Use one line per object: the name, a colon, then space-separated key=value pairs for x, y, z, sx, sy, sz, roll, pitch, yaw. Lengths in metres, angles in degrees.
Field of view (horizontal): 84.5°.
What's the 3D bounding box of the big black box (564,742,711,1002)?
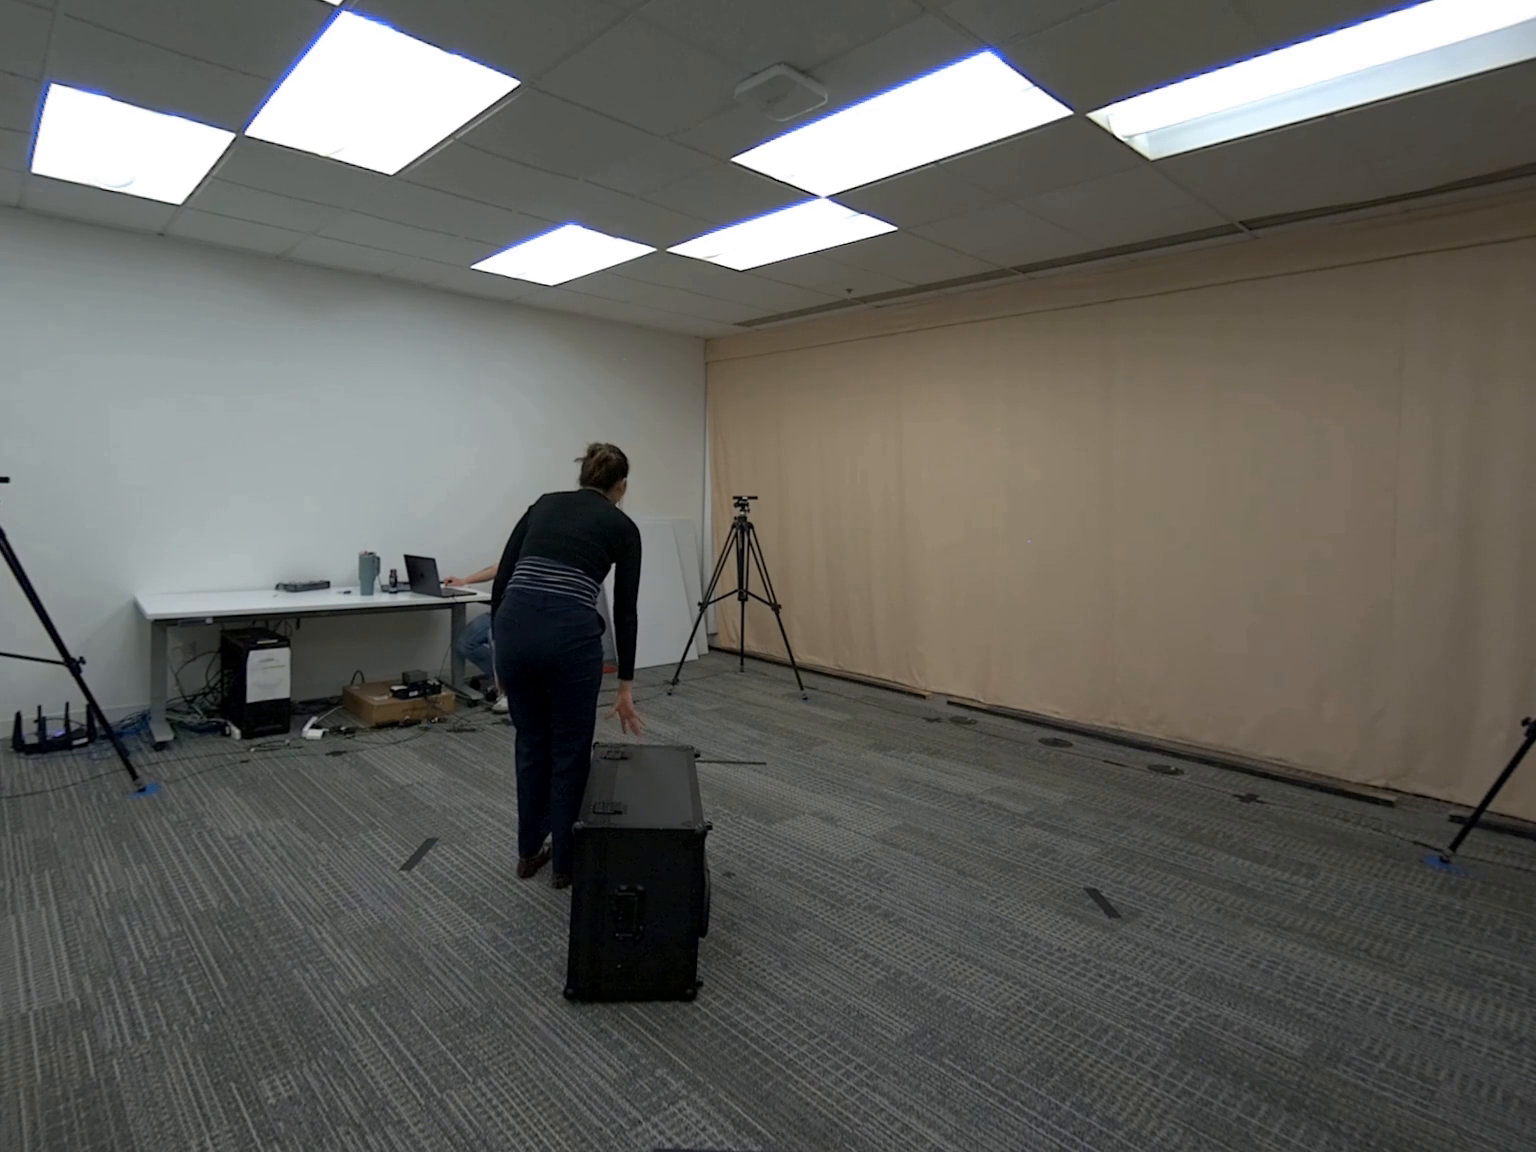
big black box: x=-0.403 y=0.880 z=2.699 sx=0.394 sy=0.520 sz=0.869 roll=3 pitch=4 yaw=-8
